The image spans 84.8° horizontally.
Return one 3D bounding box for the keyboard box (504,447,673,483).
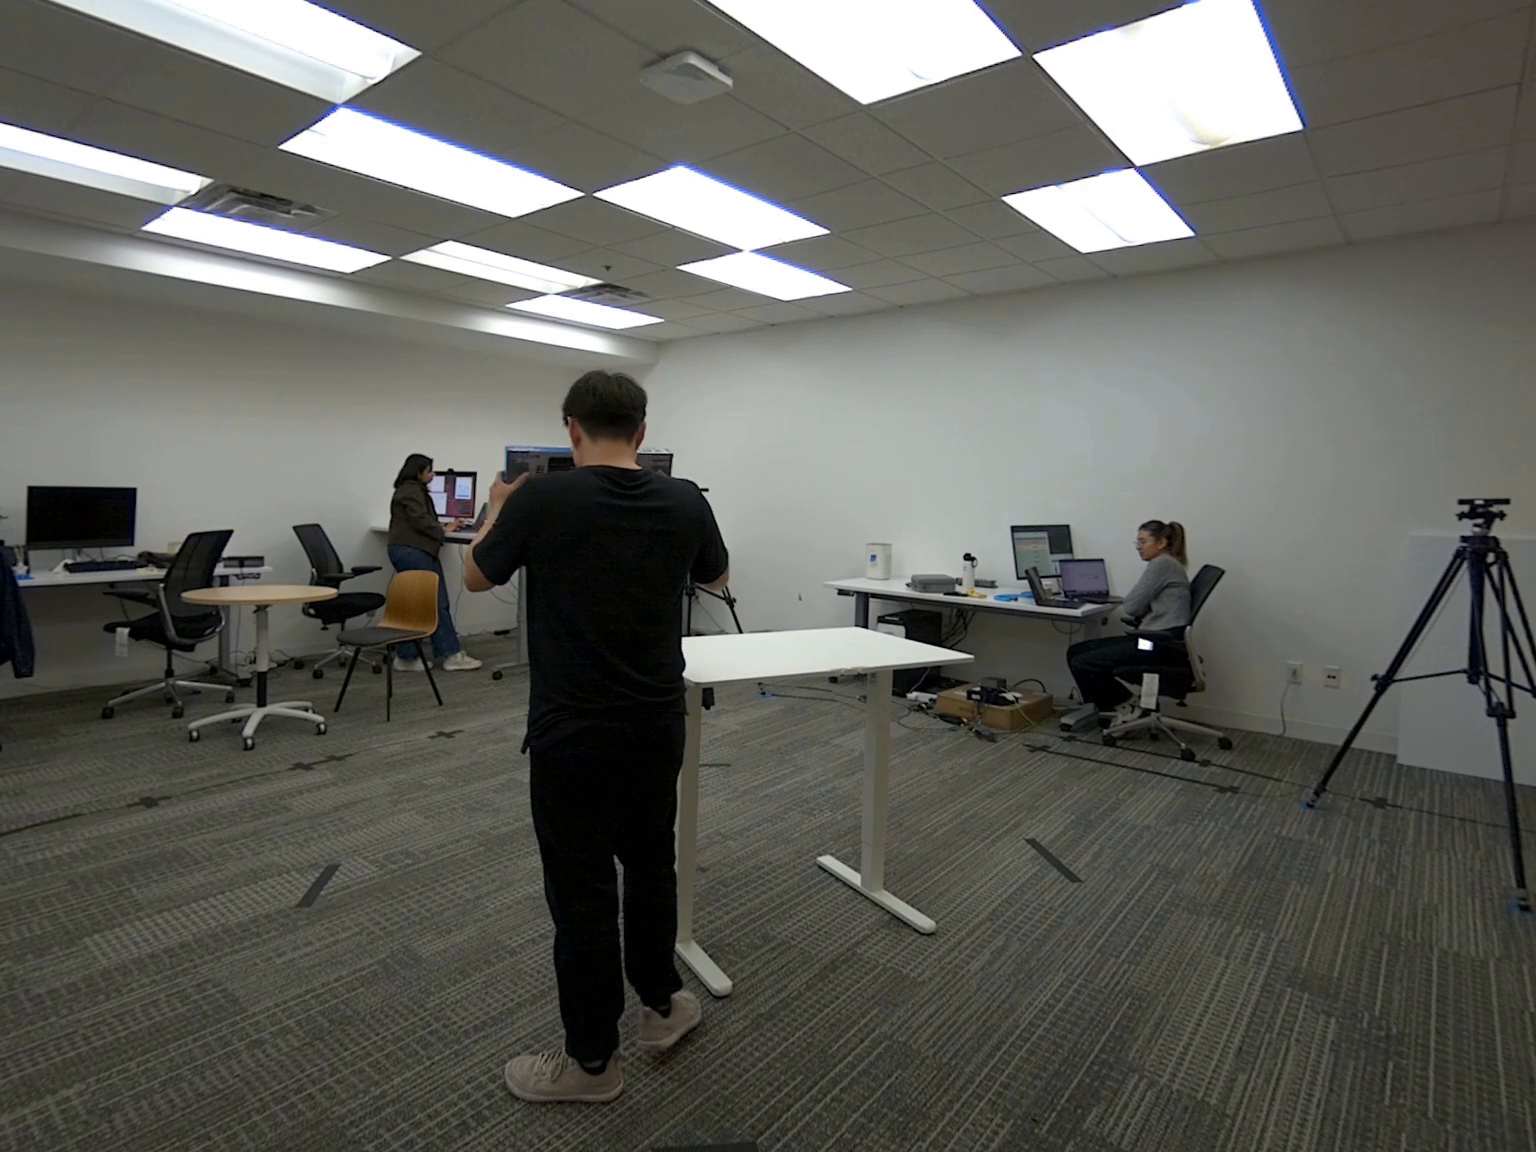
[{"bbox_3d":[-0.478,-0.253,2.254,0.428,0.173,0.061,-1,19,-19],"label":"keyboard box"}]
